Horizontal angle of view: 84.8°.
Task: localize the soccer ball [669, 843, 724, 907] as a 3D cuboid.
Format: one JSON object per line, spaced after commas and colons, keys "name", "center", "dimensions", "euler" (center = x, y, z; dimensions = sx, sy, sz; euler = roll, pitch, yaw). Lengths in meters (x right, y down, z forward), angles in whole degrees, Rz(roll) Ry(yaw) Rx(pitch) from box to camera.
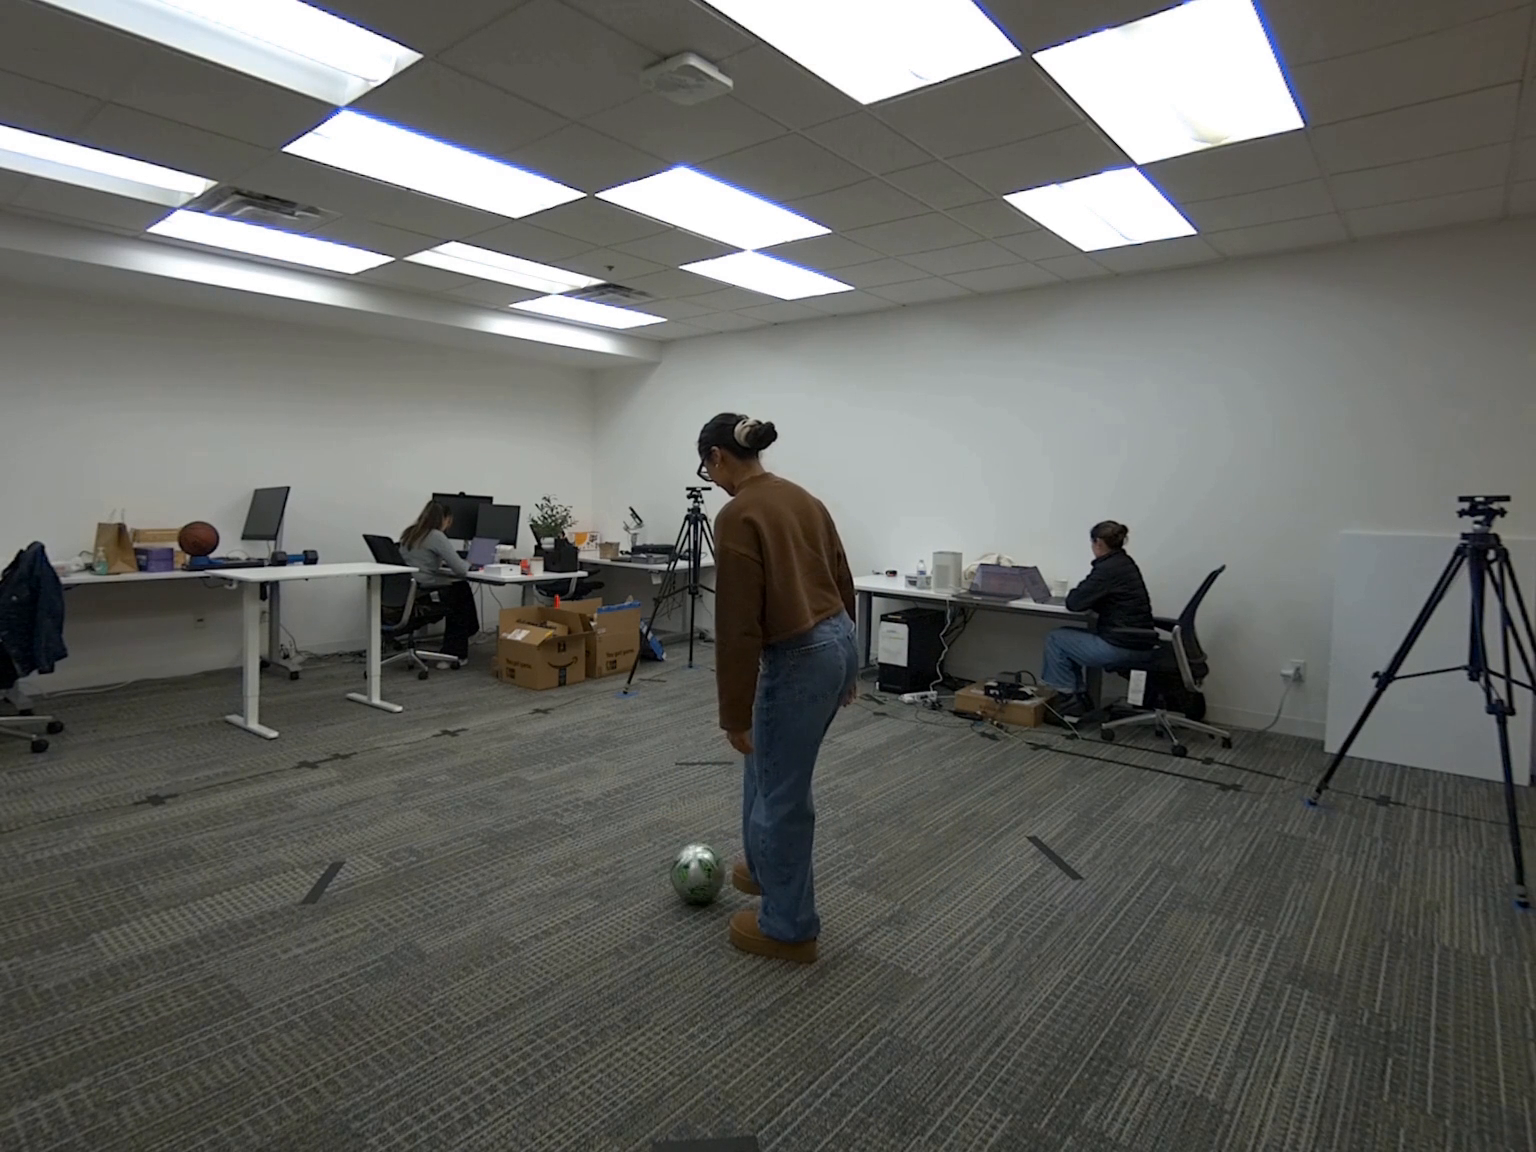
{"name": "soccer ball", "center": [-0.243, 0.995, 2.865], "dimensions": [0.187, 0.187, 0.188], "euler": [1, 4, -2]}
